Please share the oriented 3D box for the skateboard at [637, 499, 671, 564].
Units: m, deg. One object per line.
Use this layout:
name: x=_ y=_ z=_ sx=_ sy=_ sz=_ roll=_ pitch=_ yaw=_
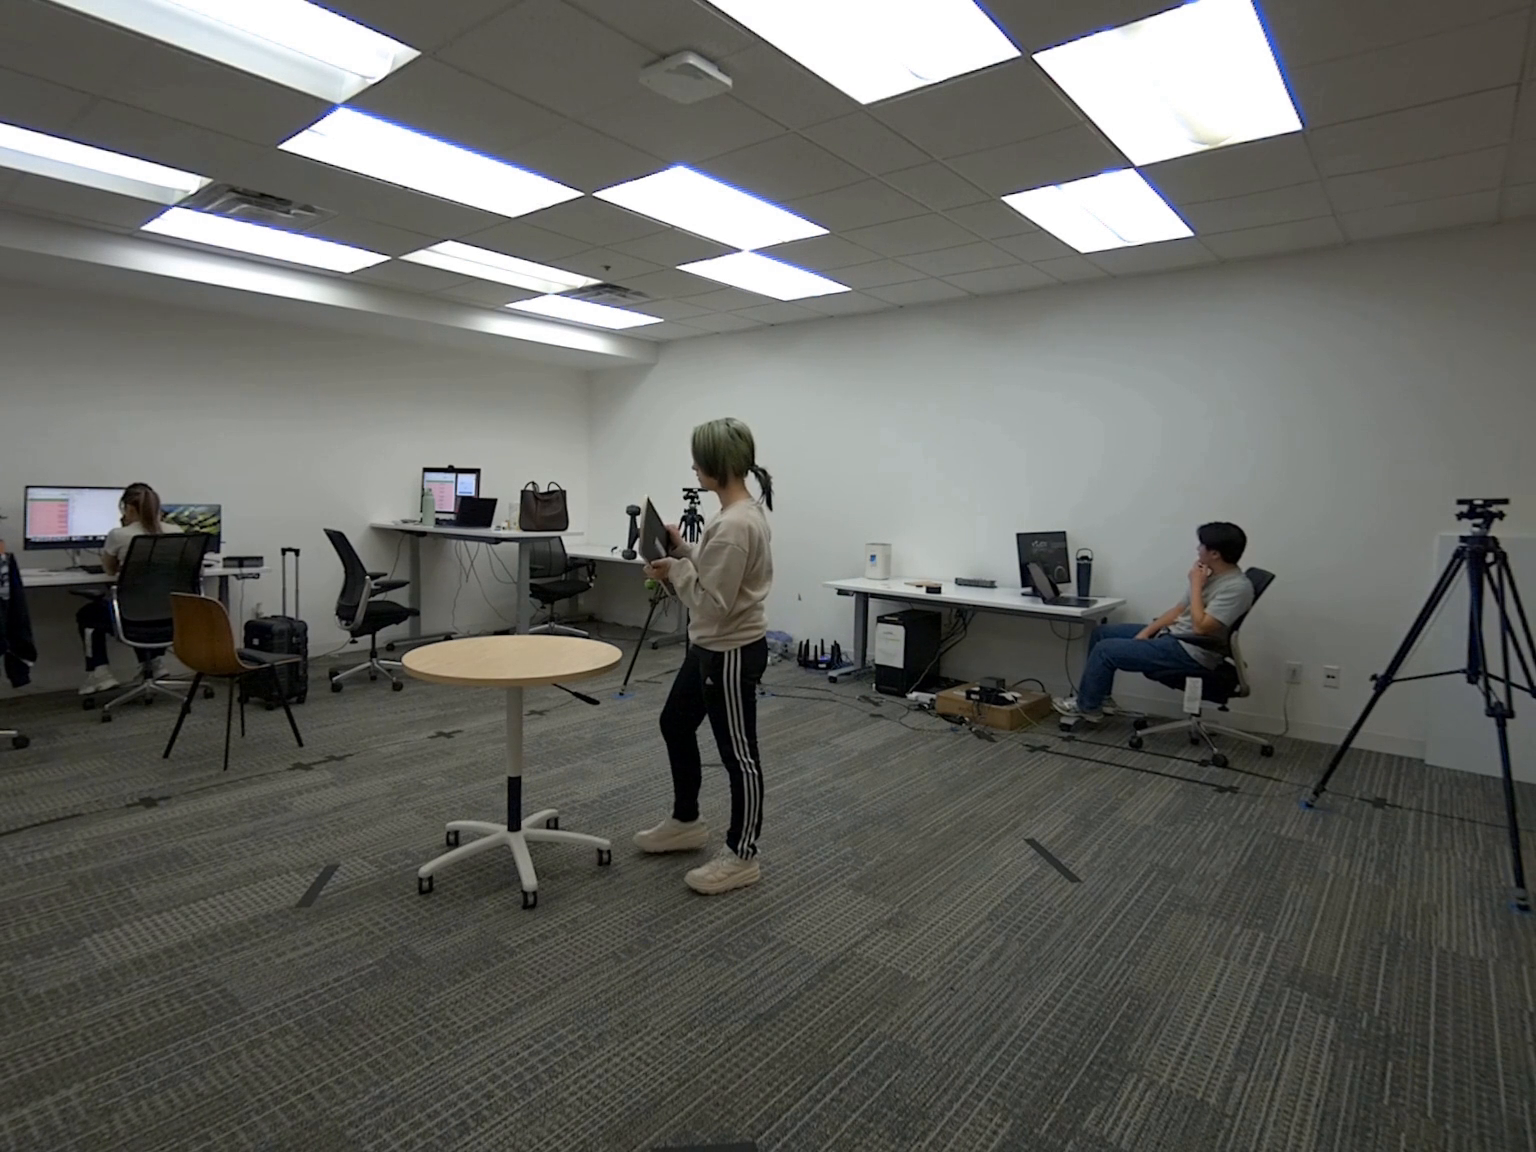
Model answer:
skateboard: x=-0.434 y=-0.103 z=3.003 sx=0.111 sy=0.196 sz=0.770 roll=3 pitch=-15 yaw=3
